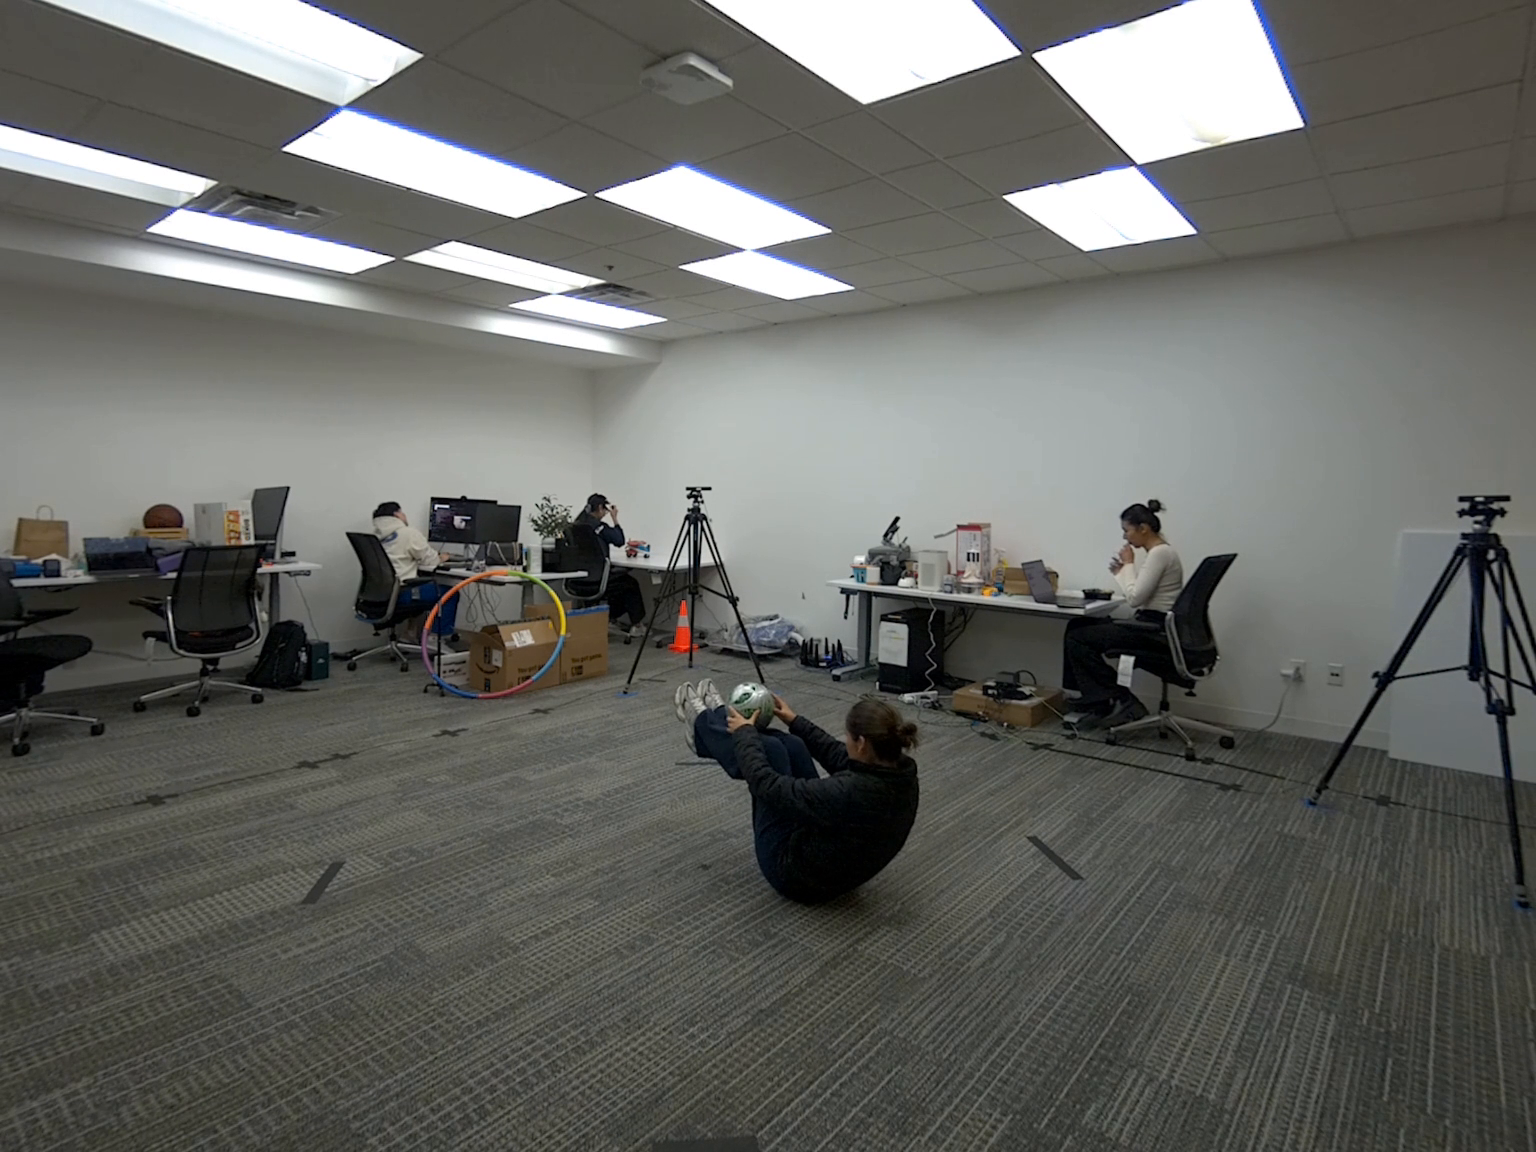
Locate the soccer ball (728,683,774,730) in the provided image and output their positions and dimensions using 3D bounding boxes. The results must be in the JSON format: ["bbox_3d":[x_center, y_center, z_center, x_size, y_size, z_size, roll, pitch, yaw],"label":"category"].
[{"bbox_3d":[-0.078,0.492,3.182,0.187,0.187,0.188,-3,3,-2],"label":"soccer ball"}]
